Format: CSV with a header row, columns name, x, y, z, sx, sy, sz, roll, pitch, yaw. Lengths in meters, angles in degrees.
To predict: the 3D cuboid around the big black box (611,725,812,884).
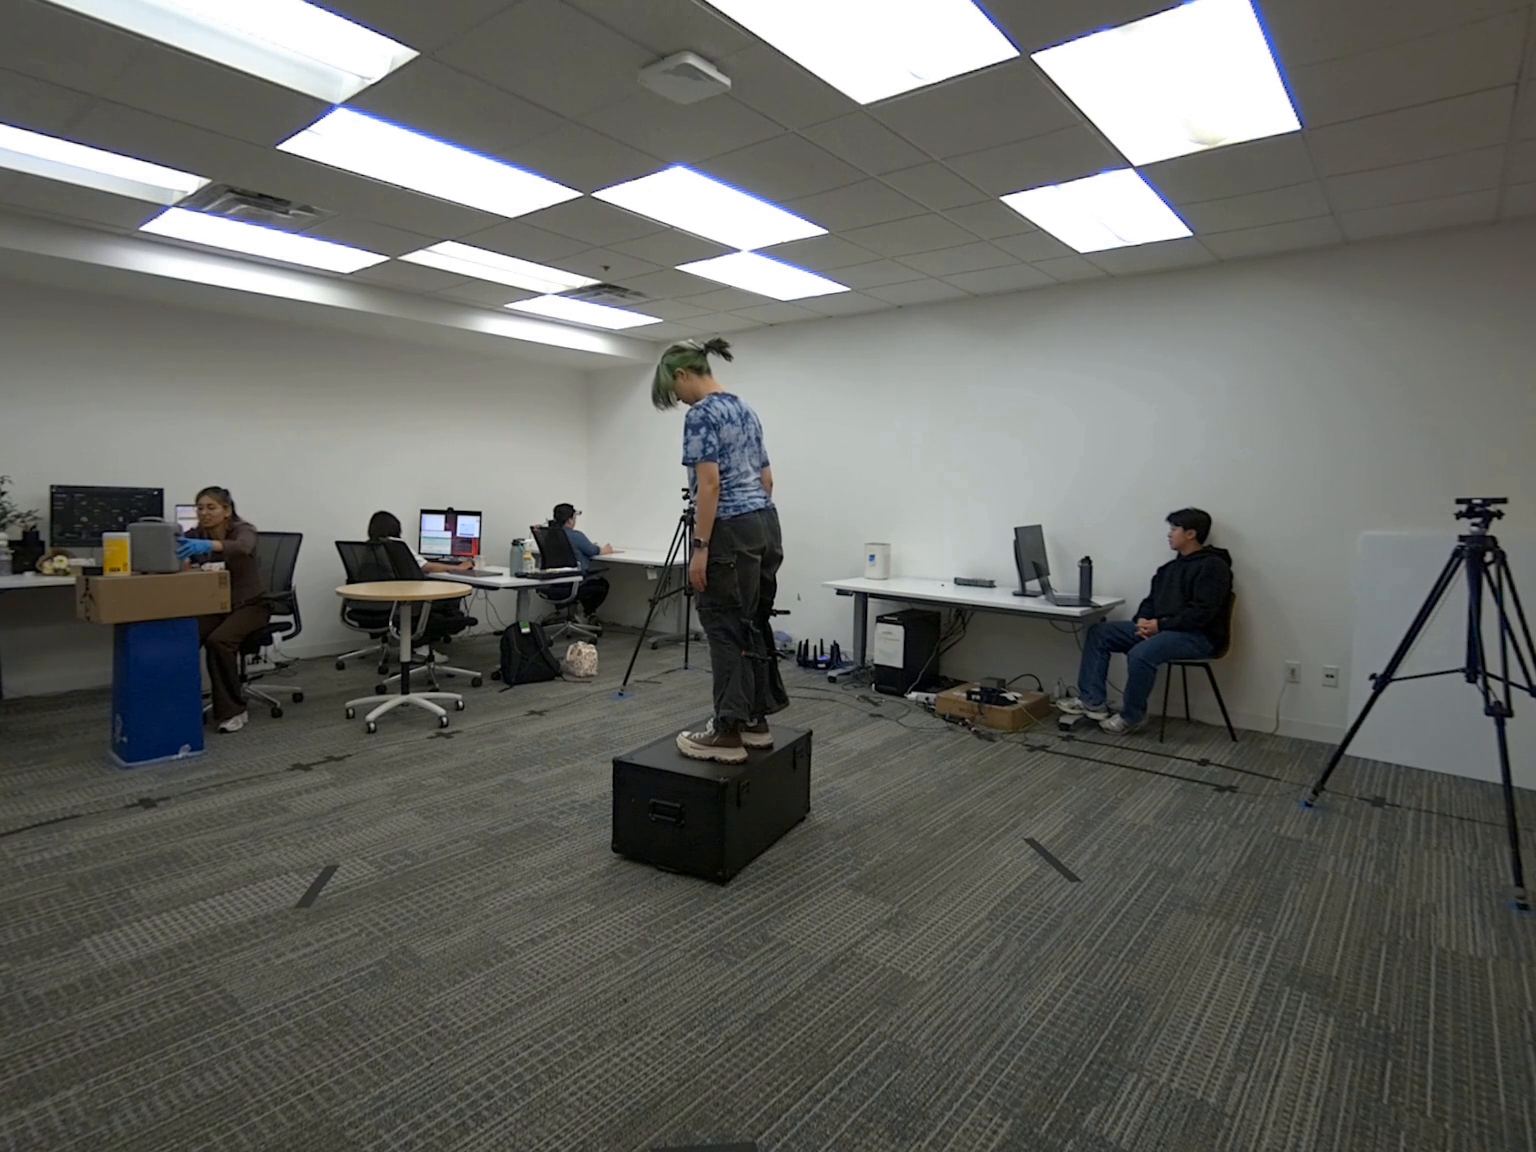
name,x,y,z,sx,sy,sz,roll,pitch,yaw
big black box,-0.192,0.851,3.430,0.536,0.395,0.841,3,6,27
